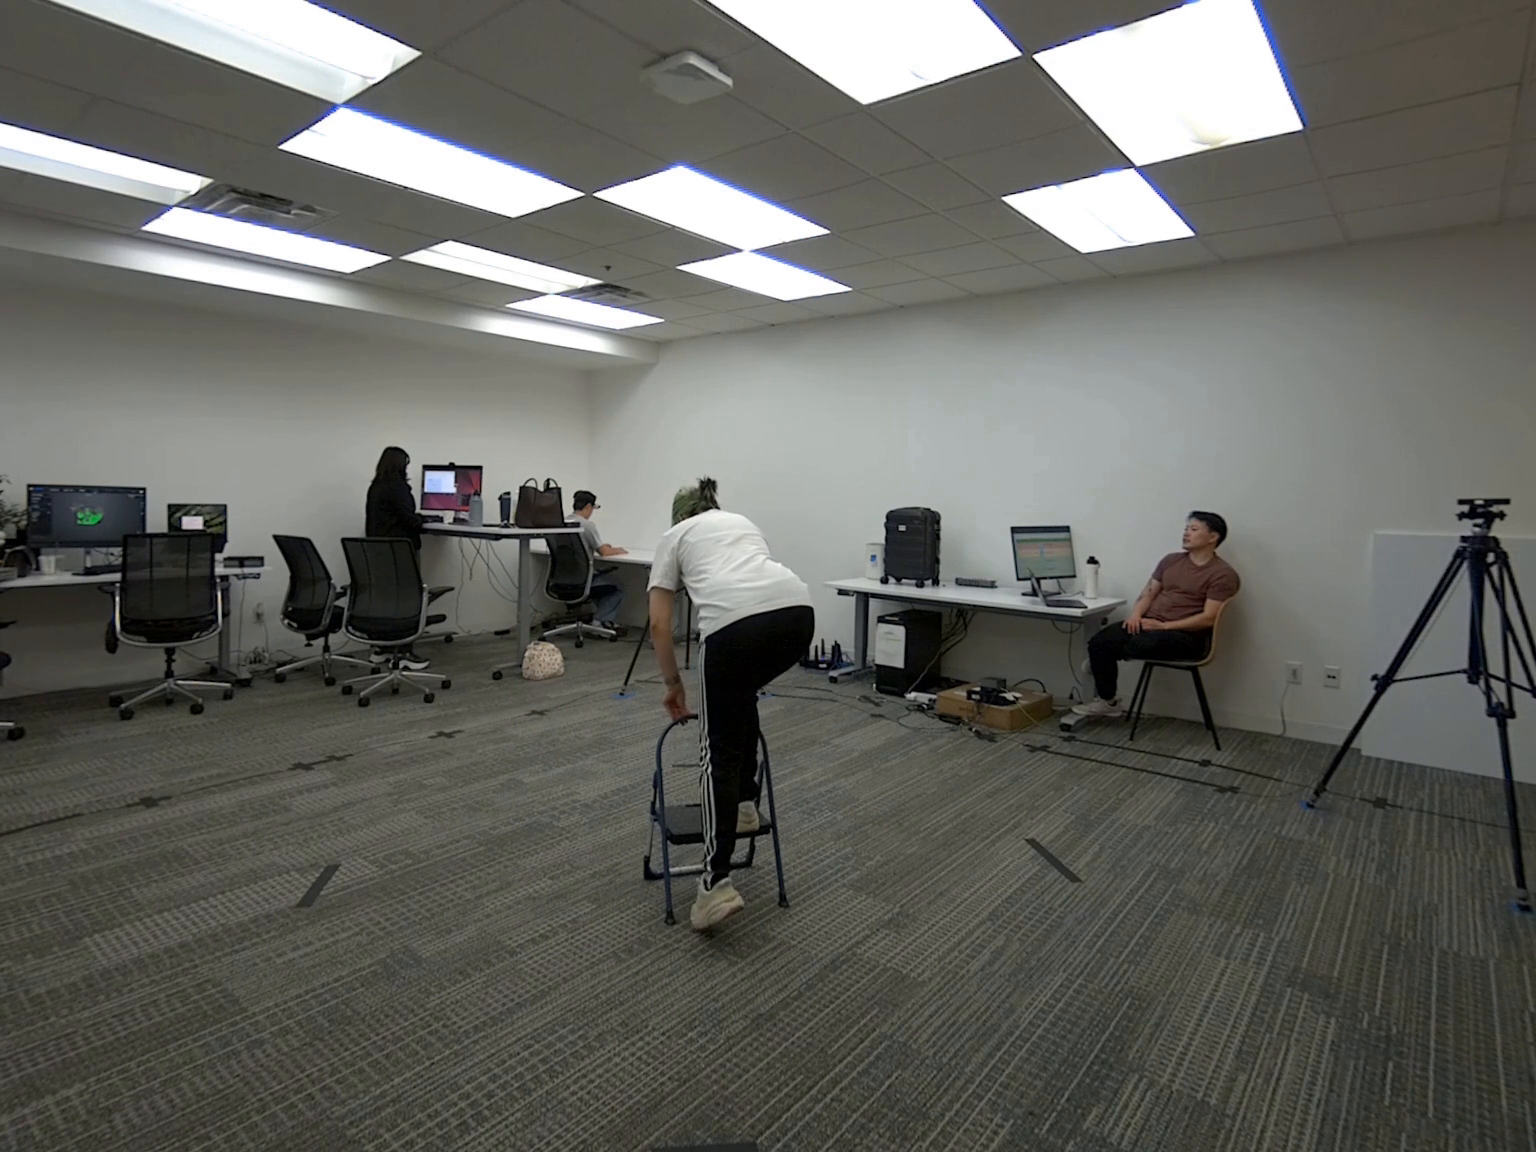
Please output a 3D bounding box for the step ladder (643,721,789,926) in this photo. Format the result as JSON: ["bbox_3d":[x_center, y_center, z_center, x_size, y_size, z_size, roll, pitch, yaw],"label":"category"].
[{"bbox_3d":[-0.194,0.788,2.922,0.422,0.604,0.358,0,3,-21],"label":"step ladder"}]
